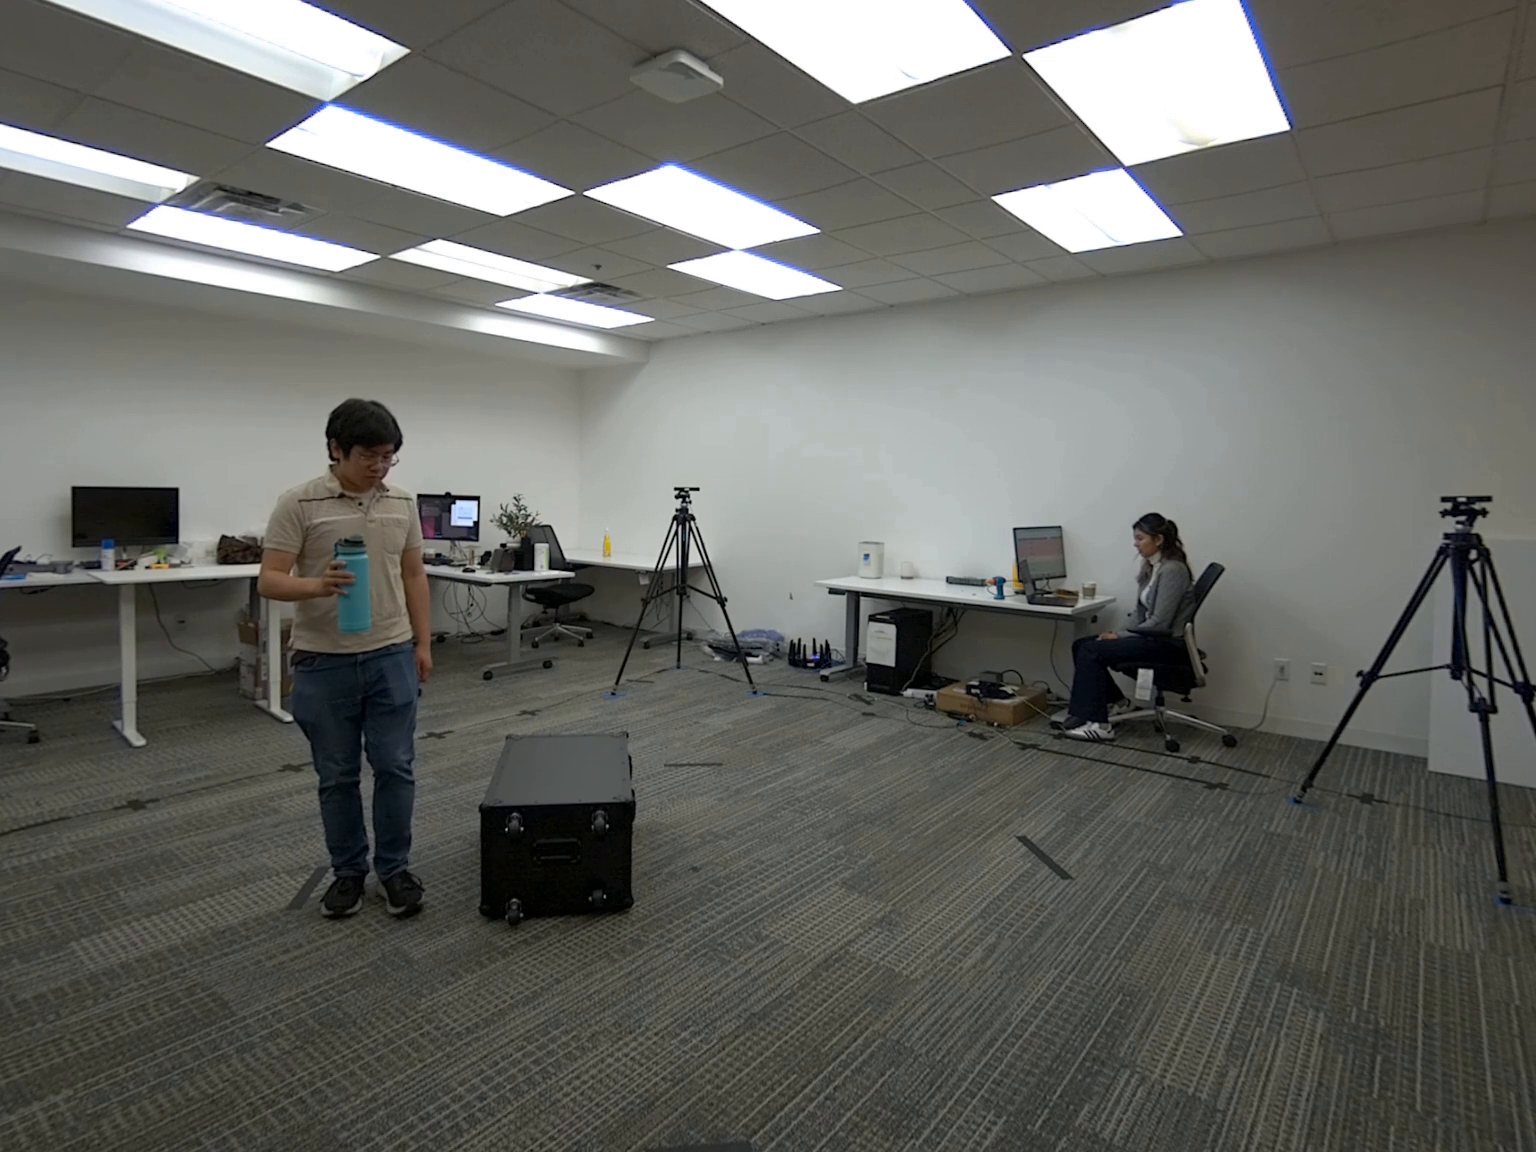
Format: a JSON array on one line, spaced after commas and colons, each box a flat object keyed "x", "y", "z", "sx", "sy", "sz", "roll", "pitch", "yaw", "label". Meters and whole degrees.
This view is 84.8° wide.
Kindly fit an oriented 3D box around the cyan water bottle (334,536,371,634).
[{"x": -1.248, "y": 0.019, "z": 2.492, "sx": 0.092, "sy": 0.282, "sz": 0.093, "roll": 0, "pitch": 6, "yaw": -2, "label": "cyan water bottle"}]
